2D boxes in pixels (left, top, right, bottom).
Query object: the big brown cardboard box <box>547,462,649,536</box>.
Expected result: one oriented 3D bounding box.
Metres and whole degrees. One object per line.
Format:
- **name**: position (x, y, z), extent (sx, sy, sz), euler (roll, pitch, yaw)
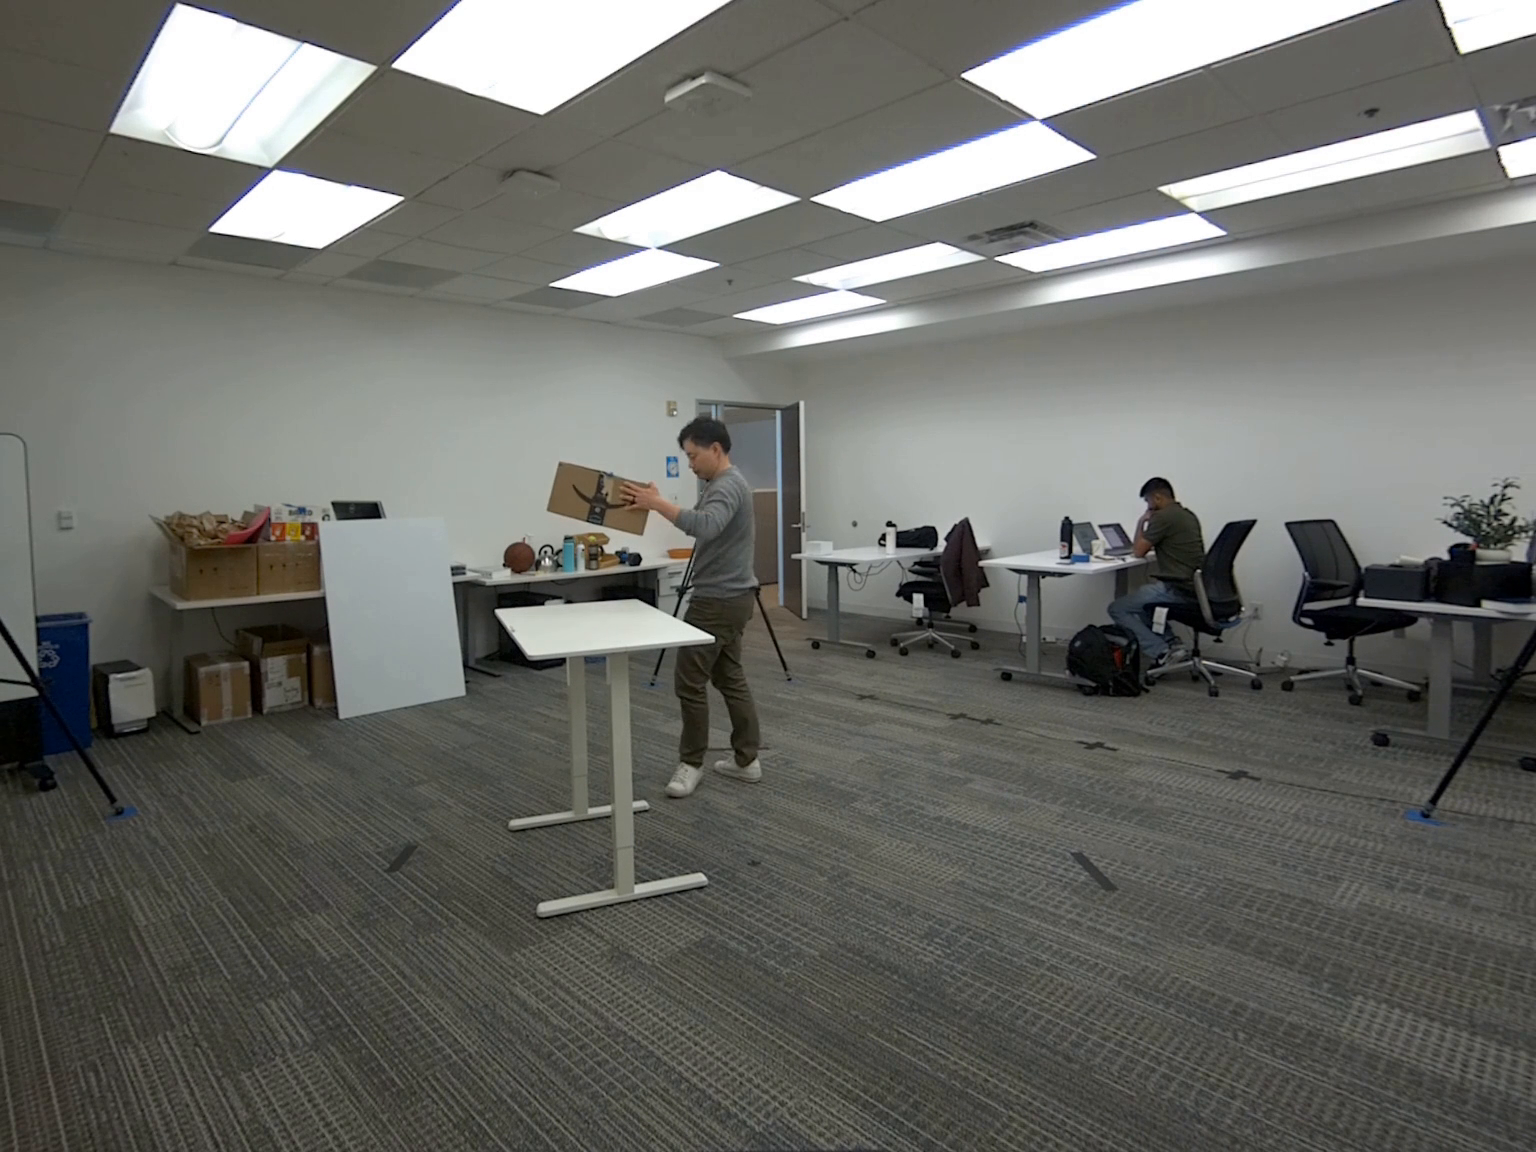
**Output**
- **big brown cardboard box**: position (-0.730, -0.353, 3.848), extent (0.414, 0.232, 0.595), euler (13, 4, -8)
